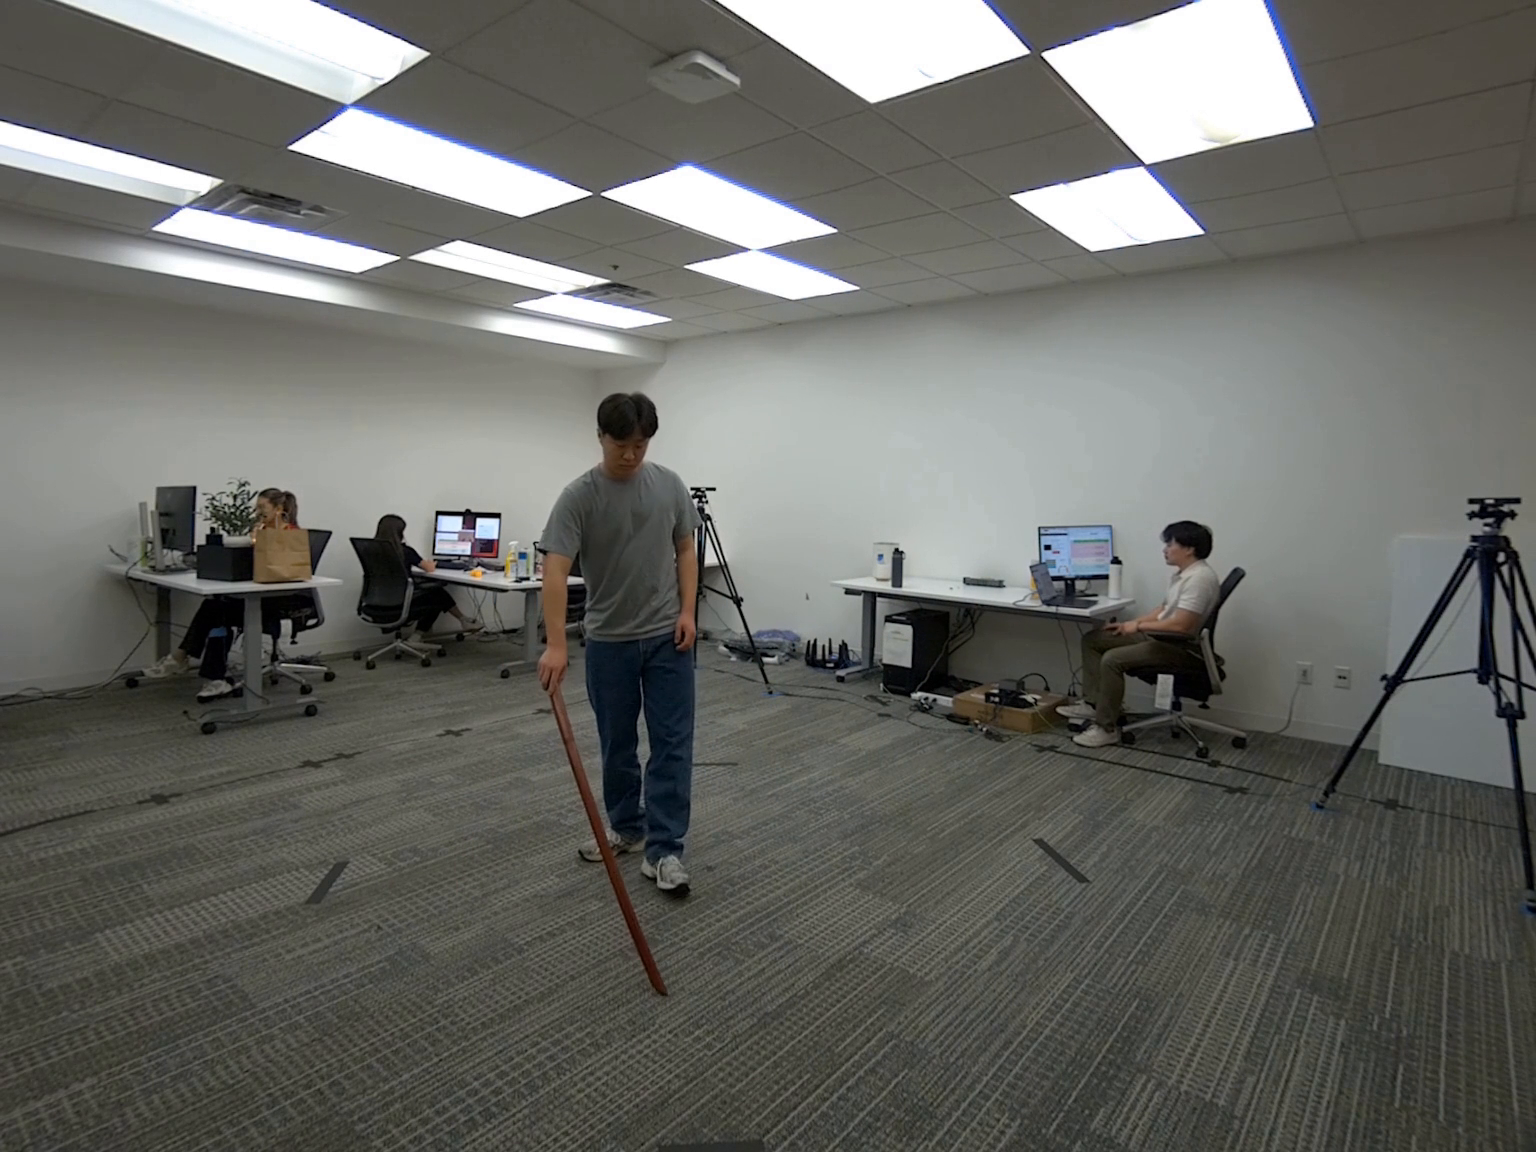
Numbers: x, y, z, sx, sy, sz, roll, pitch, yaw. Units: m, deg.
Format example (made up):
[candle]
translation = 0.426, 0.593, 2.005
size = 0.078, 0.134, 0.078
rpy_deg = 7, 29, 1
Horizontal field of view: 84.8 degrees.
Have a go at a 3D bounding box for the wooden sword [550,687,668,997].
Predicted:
[wooden sword]
translation = -0.518, 0.724, 2.554
size = 0.050, 1.058, 0.024
rpy_deg = -7, -33, -37
